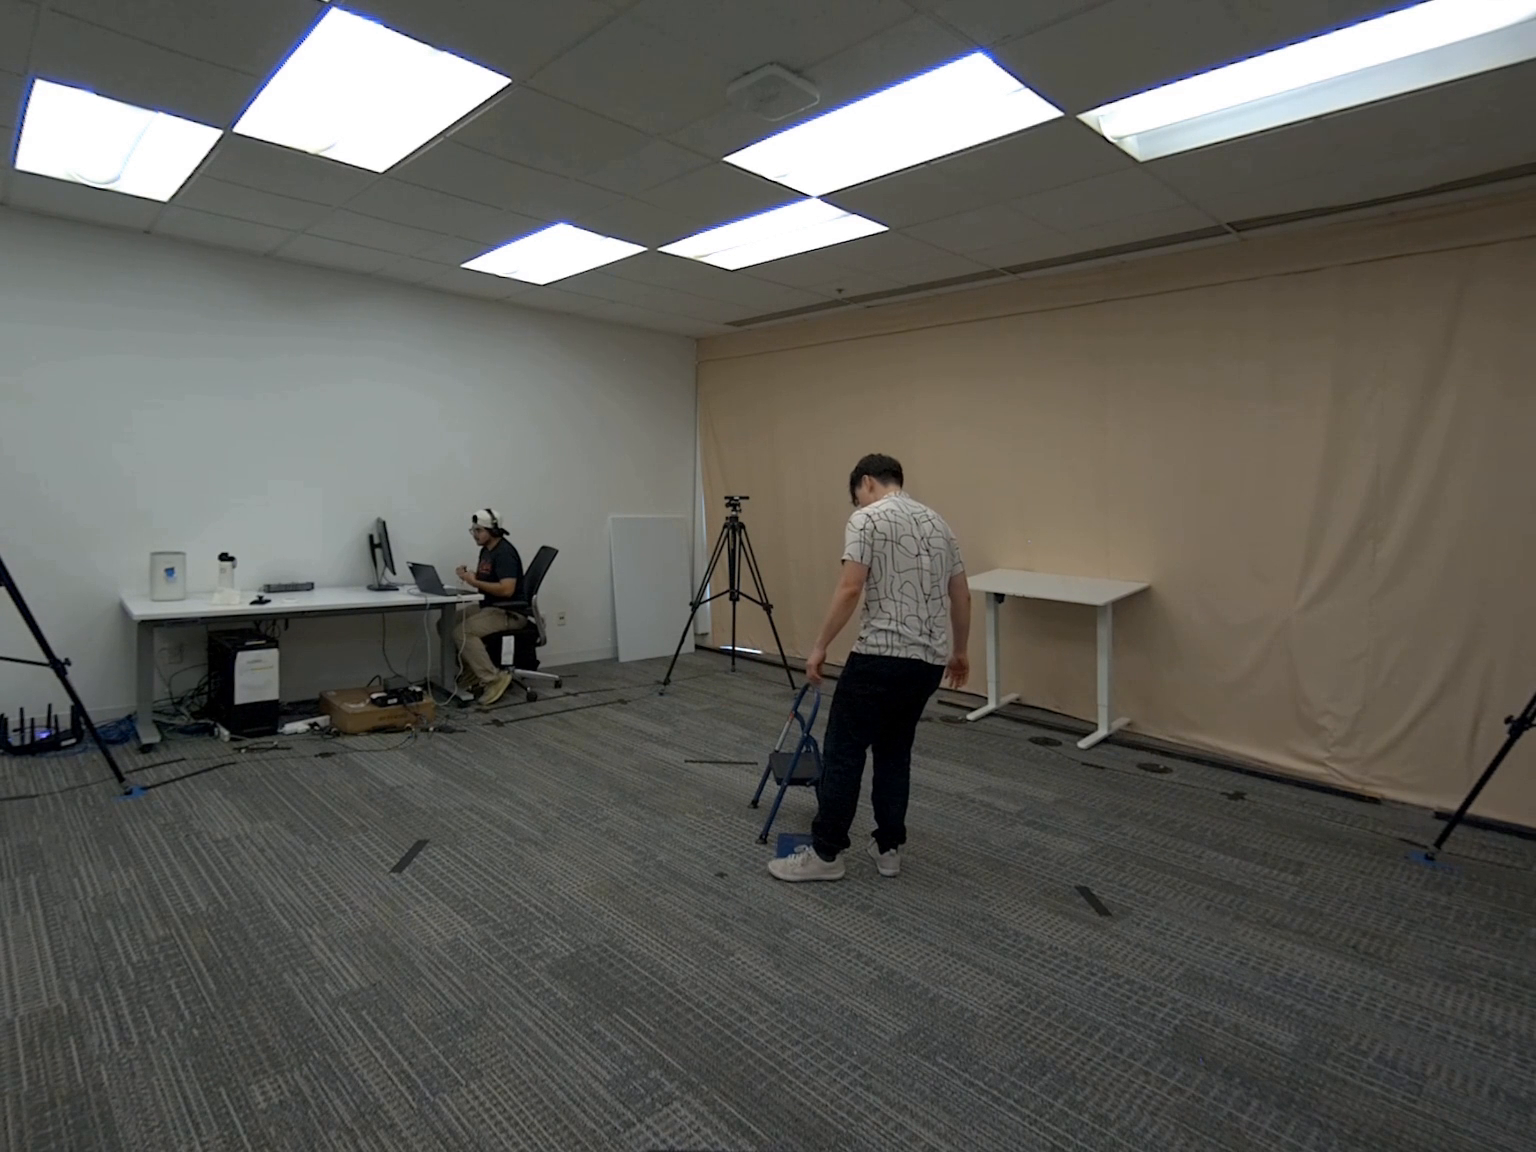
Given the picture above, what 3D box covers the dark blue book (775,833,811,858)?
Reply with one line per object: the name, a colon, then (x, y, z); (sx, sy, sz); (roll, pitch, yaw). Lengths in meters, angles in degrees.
dark blue book: (0.125, 1.089, 3.279); (0.164, 0.045, 0.245); (0, 6, 2)
